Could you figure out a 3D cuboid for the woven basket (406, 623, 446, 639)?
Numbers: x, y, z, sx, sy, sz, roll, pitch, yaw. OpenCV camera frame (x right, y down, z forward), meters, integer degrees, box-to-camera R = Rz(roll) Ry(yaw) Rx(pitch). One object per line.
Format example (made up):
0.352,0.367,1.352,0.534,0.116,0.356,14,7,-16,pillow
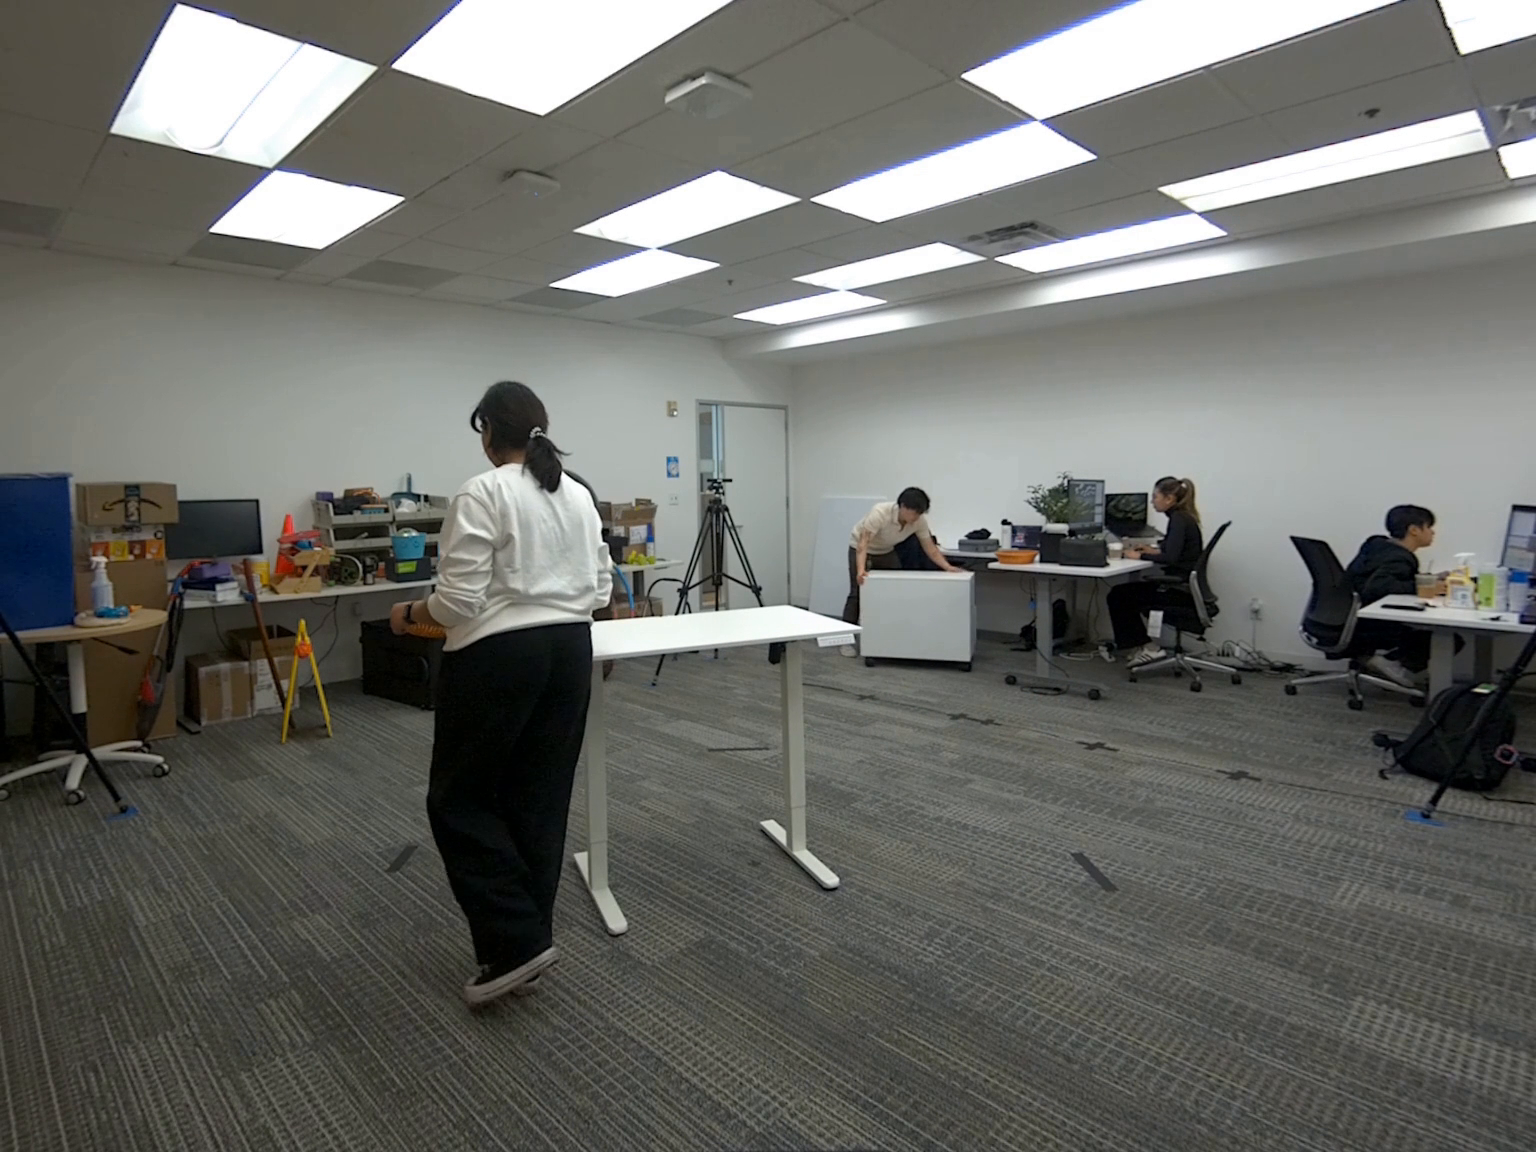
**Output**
-0.939,0.132,2.557,0.258,0.073,0.344,6,7,22,woven basket
